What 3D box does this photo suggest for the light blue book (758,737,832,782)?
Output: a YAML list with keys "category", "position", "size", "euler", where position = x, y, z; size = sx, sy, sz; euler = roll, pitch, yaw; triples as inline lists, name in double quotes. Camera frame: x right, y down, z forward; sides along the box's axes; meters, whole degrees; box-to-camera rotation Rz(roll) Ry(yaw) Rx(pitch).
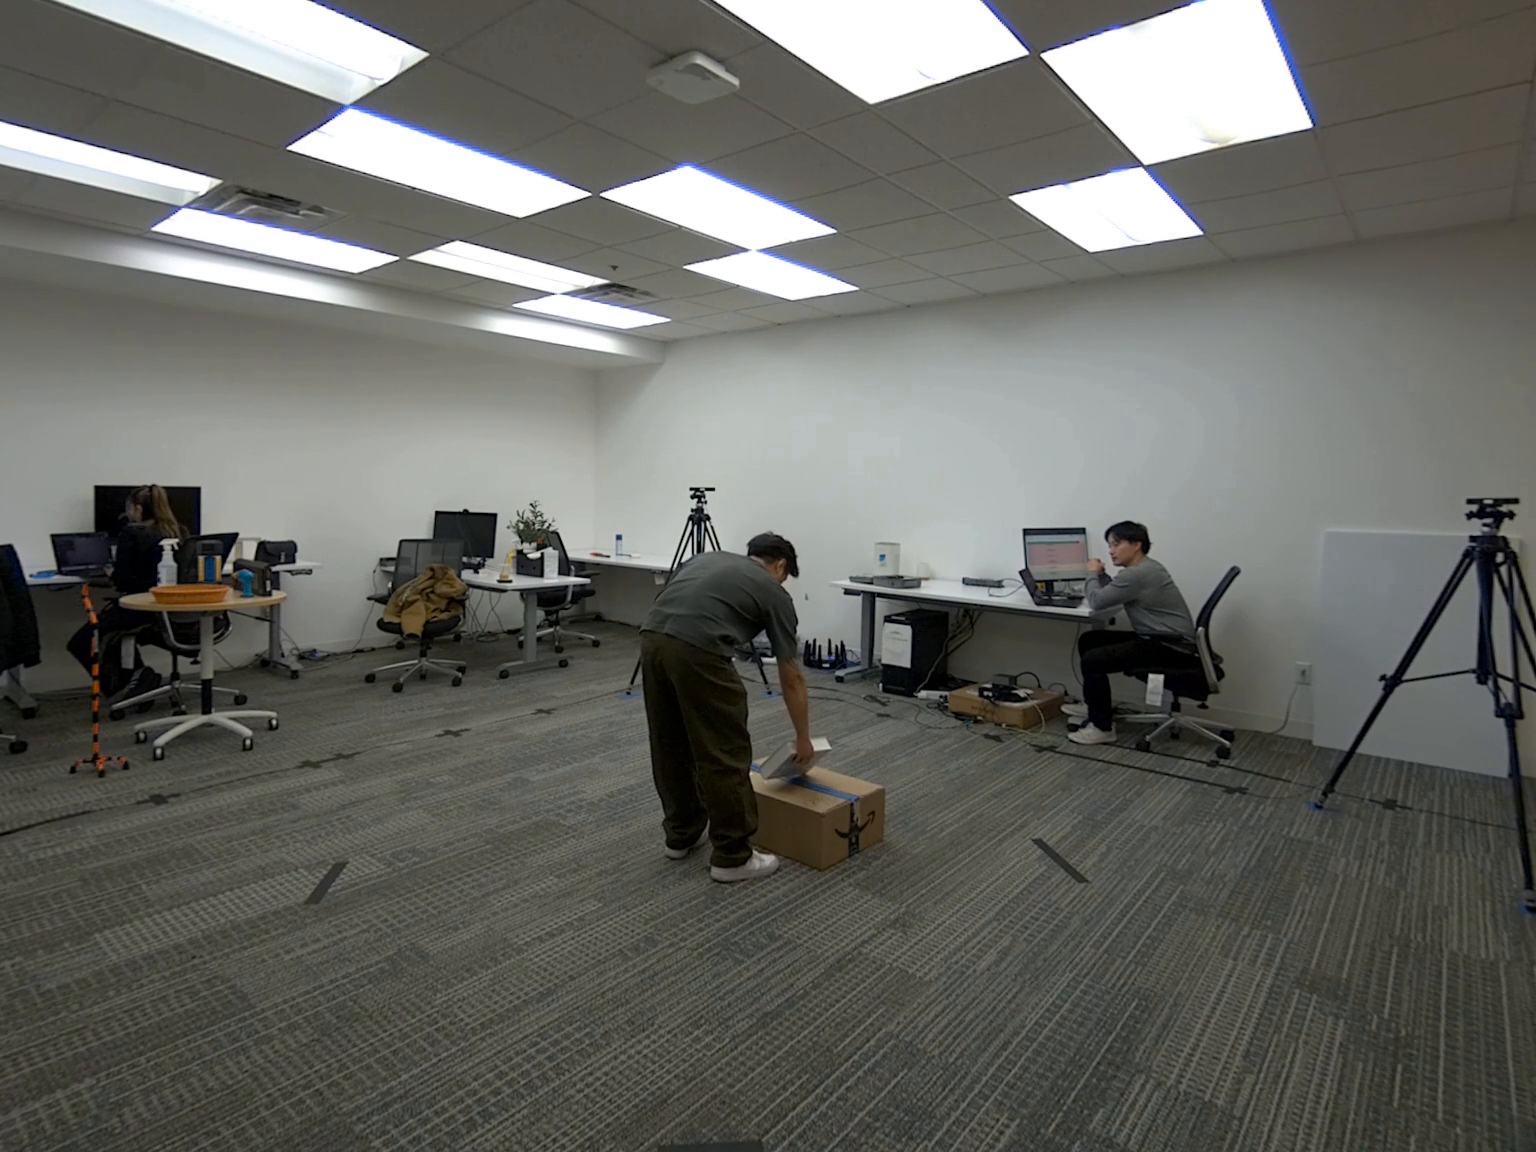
- category: "light blue book"
  position: [0.108, 0.727, 3.408]
  size: [0.252, 0.191, 0.061]
  euler: [5, 44, -48]
